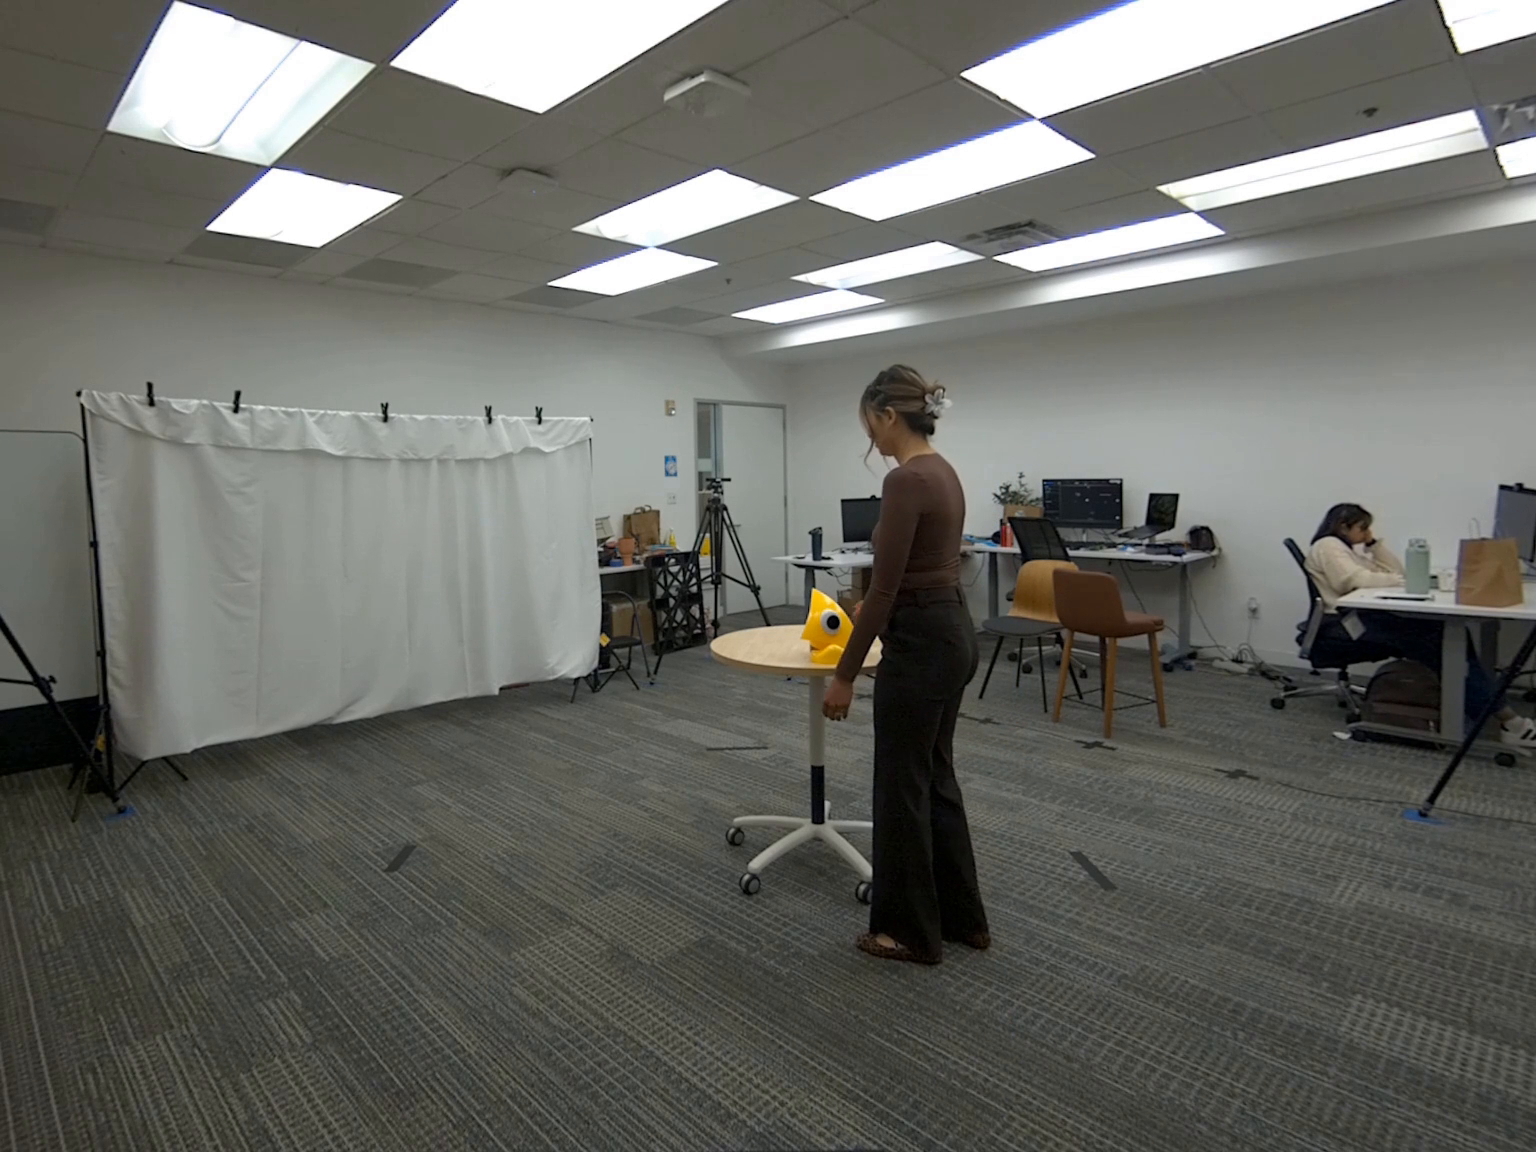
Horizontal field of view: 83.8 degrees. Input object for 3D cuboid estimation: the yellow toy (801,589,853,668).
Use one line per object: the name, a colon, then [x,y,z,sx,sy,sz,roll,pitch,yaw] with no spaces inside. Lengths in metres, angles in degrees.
yellow toy: [0.211,0.155,2.838,0.195,0.230,0.203,-1,5,12]
